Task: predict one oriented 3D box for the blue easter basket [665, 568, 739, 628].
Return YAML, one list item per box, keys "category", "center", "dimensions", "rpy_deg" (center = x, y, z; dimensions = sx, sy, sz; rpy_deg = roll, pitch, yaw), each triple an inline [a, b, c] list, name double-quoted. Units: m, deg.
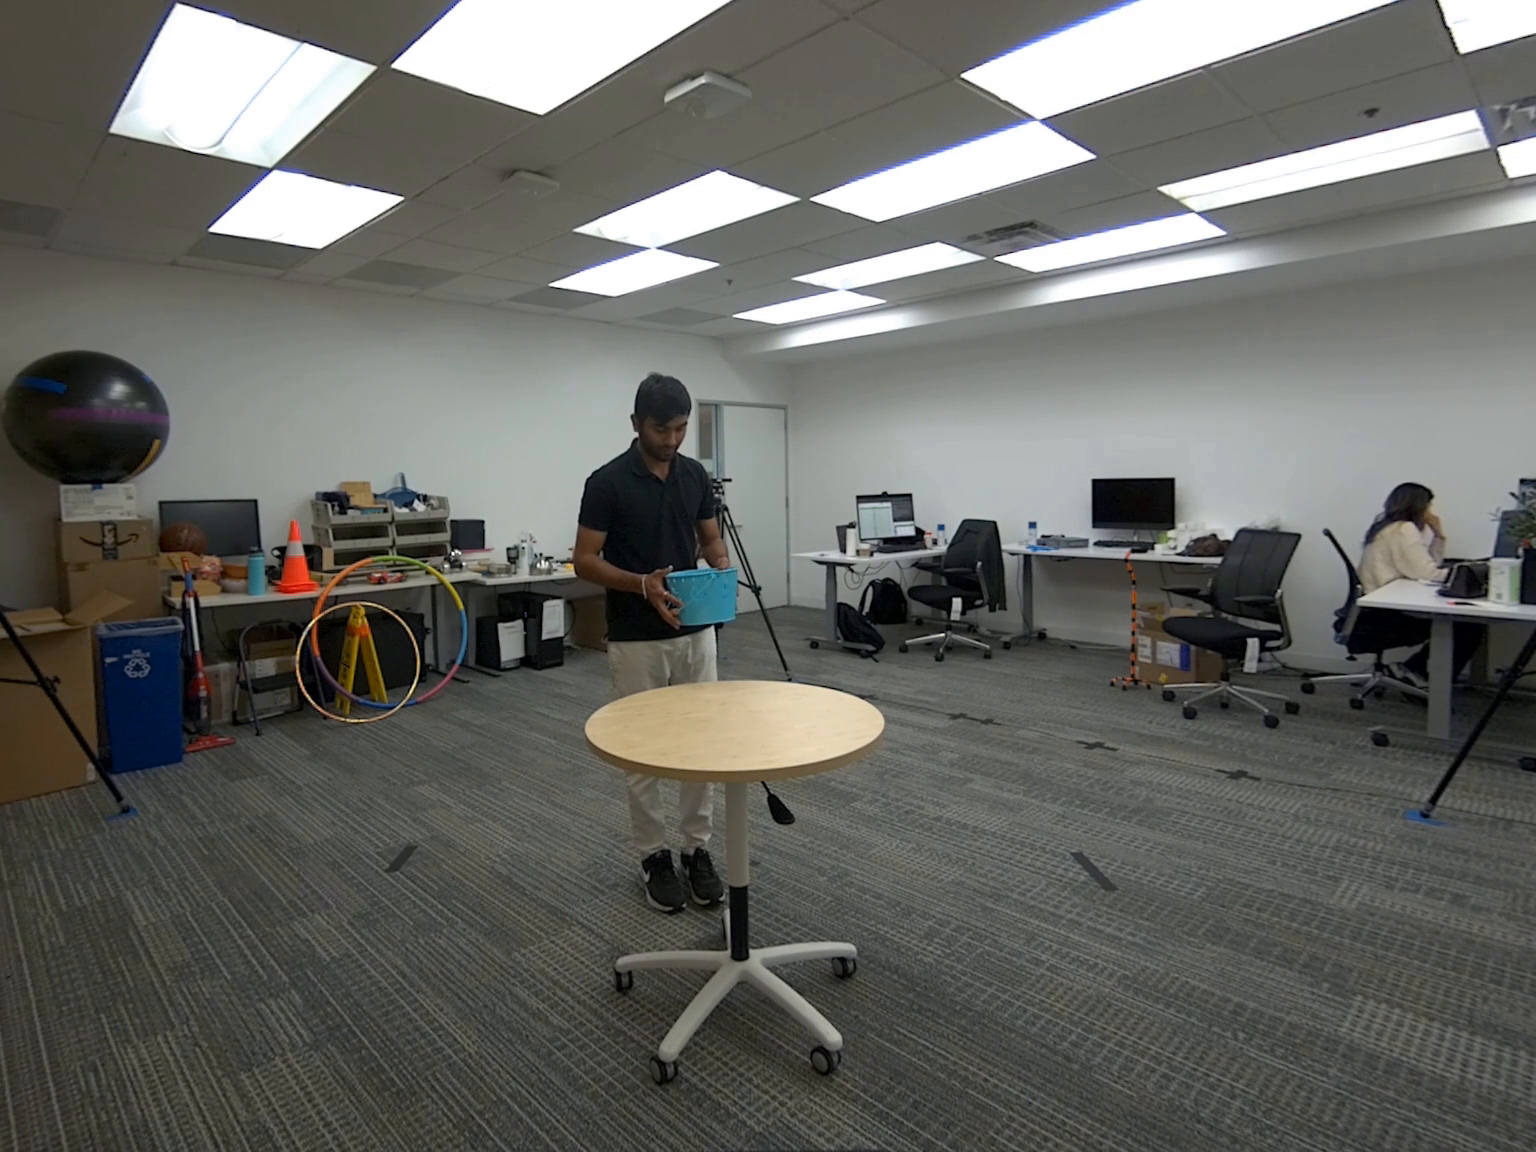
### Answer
- category: "blue easter basket"
  center: [-0.221, 0.065, 2.619]
  dimensions: [0.243, 0.155, 0.244]
  rpy_deg: [-4, 3, -2]
